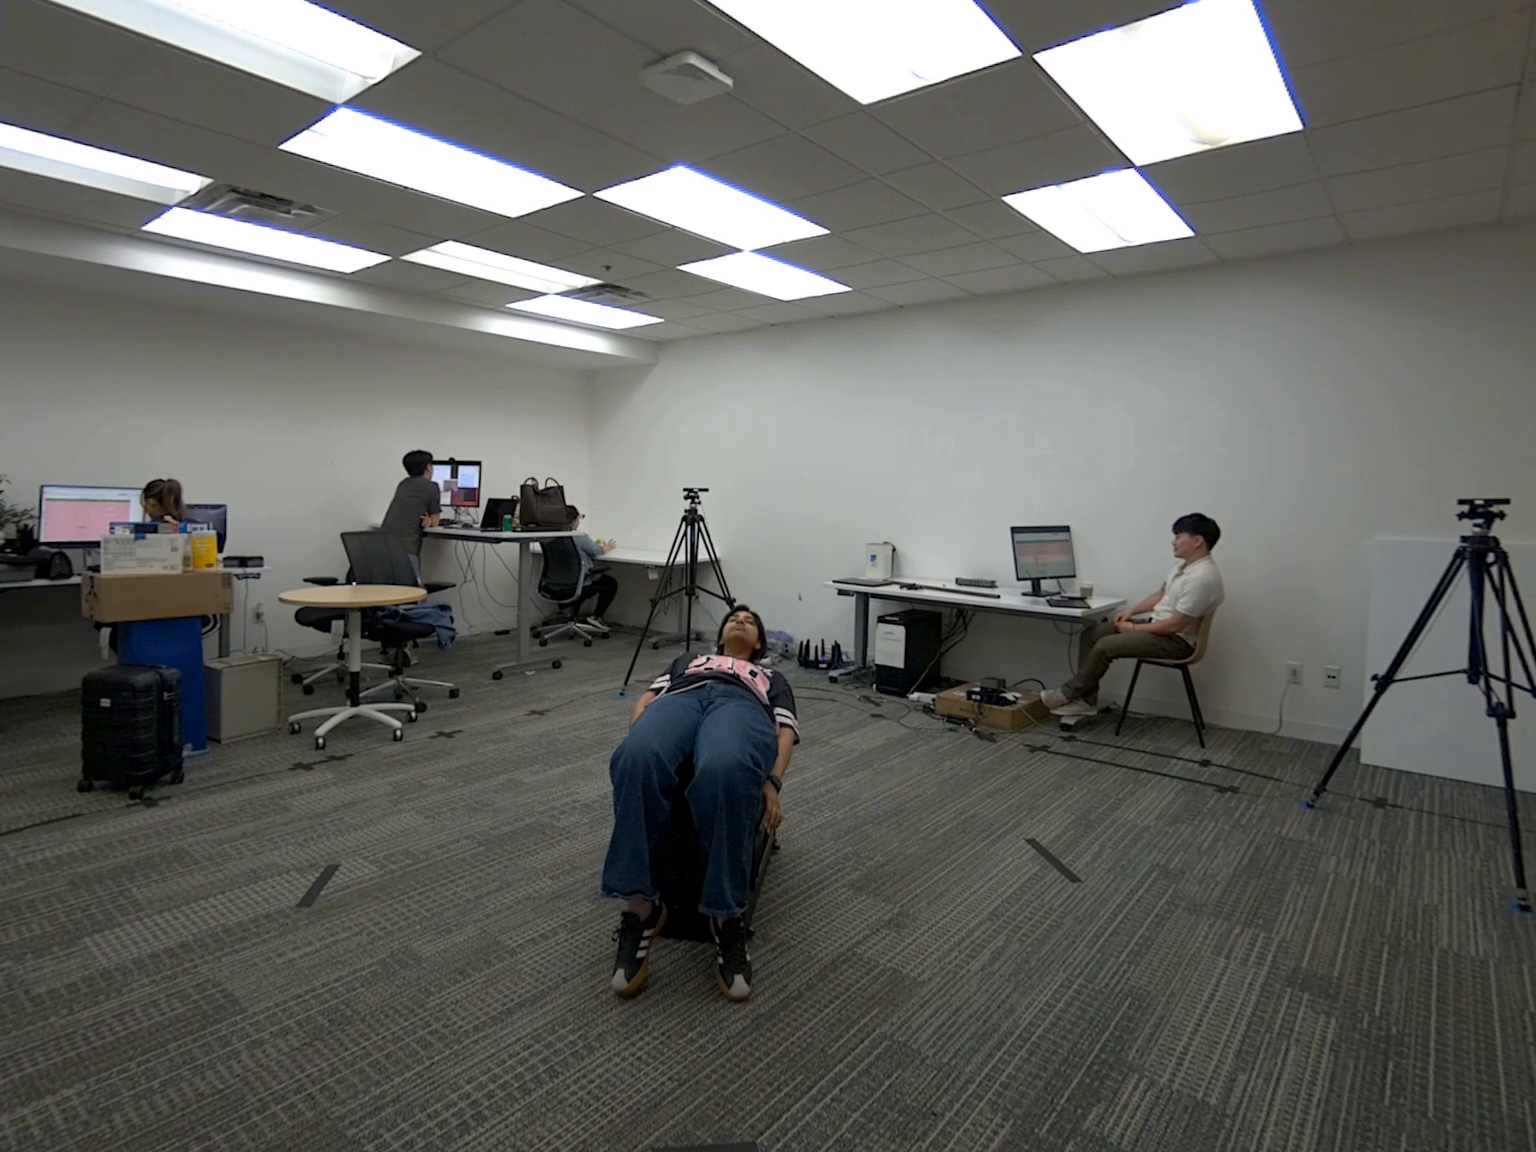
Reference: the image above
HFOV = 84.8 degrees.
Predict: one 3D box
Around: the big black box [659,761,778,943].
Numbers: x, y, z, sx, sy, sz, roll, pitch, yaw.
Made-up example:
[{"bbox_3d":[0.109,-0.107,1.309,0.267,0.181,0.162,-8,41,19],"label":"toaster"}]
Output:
[{"bbox_3d":[-0.186,0.823,3.009,0.389,0.521,0.863,0,5,8],"label":"big black box"}]
